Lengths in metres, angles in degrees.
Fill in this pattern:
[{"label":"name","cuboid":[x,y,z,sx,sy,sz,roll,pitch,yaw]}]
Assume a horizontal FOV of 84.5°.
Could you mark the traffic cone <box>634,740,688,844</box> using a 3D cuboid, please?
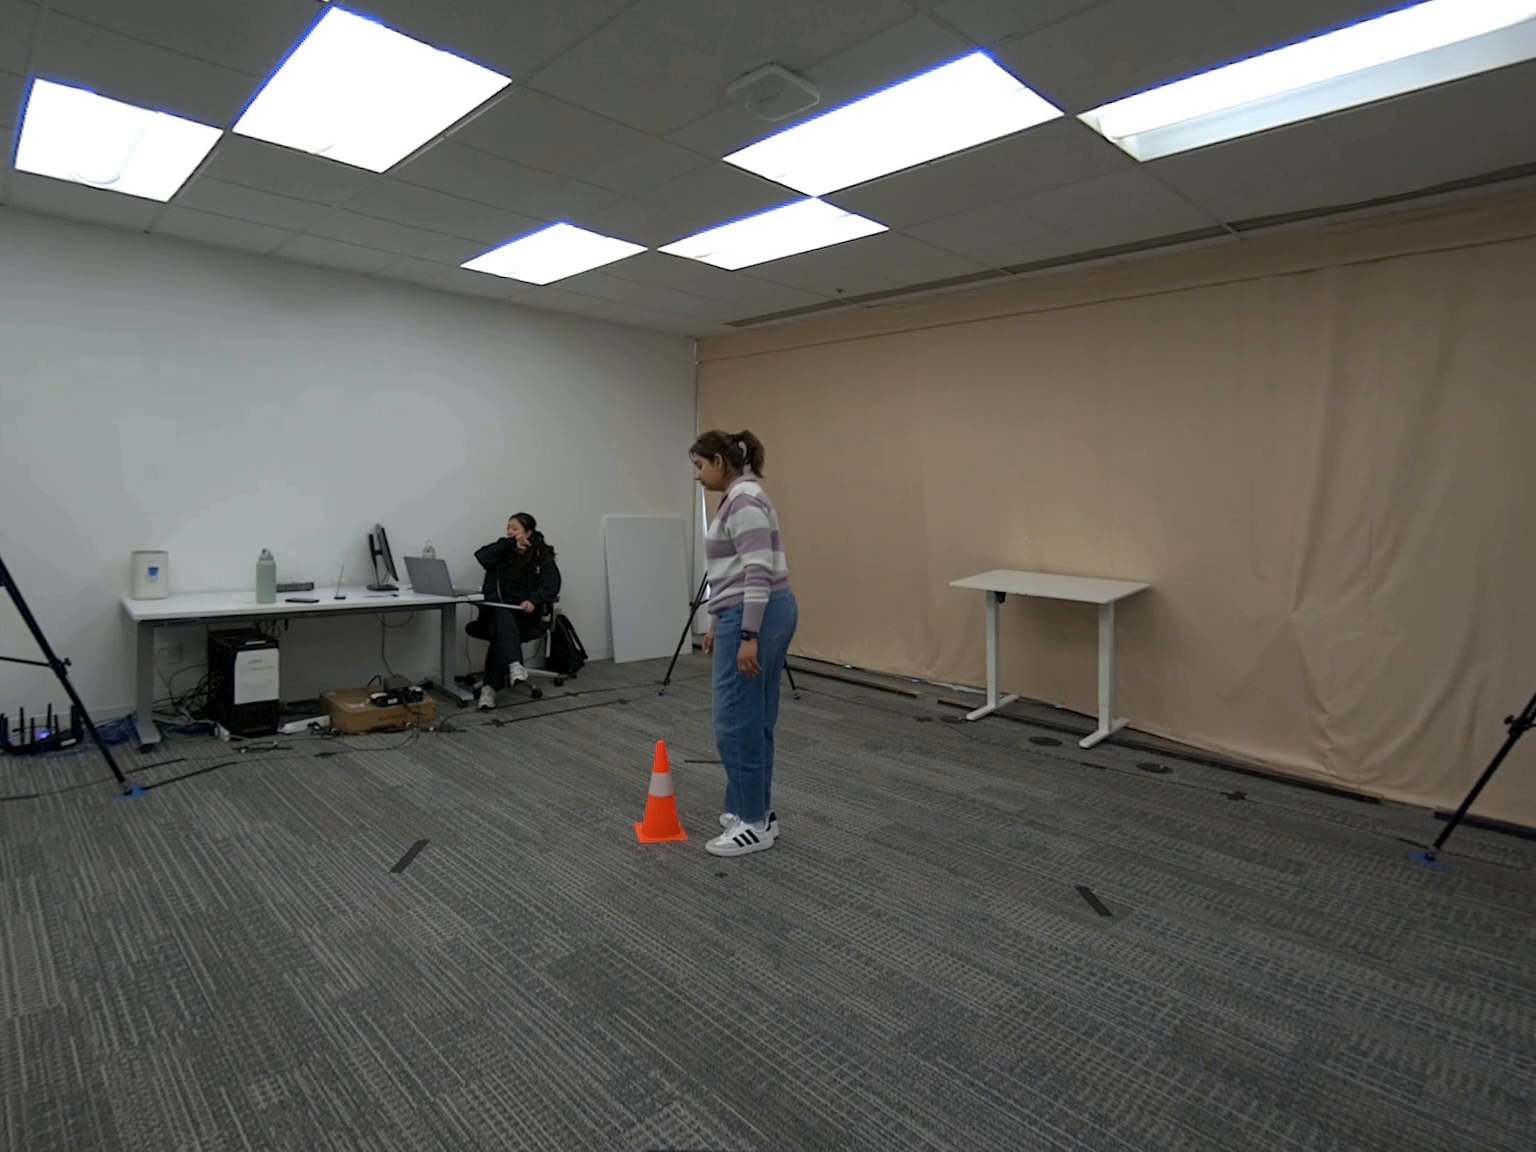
[{"label":"traffic cone","cuboid":[-0.447,0.873,3.477,0.201,0.382,0.208,-1,5,-14]}]
